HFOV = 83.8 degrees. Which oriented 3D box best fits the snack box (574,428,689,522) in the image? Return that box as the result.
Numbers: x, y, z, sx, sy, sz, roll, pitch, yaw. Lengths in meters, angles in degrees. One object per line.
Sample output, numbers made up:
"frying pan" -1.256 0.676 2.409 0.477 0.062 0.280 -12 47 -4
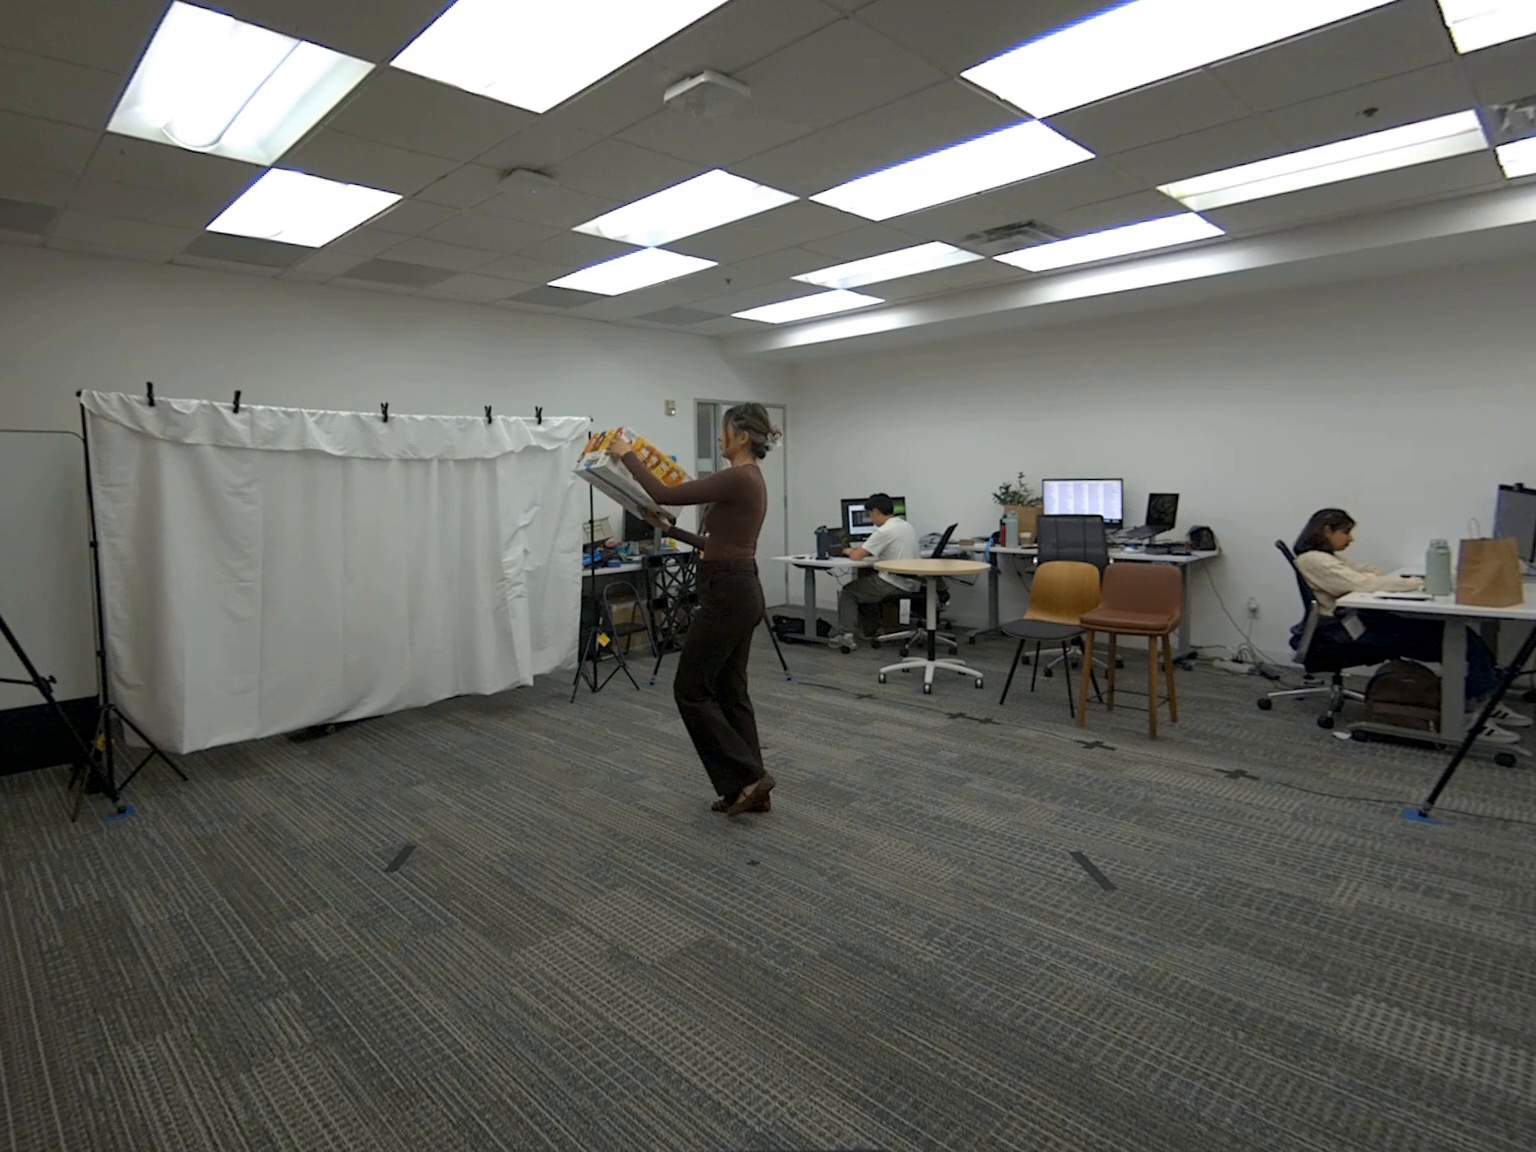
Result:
"snack box" -0.582 -0.445 3.750 0.392 0.207 0.349 36 -18 -28
